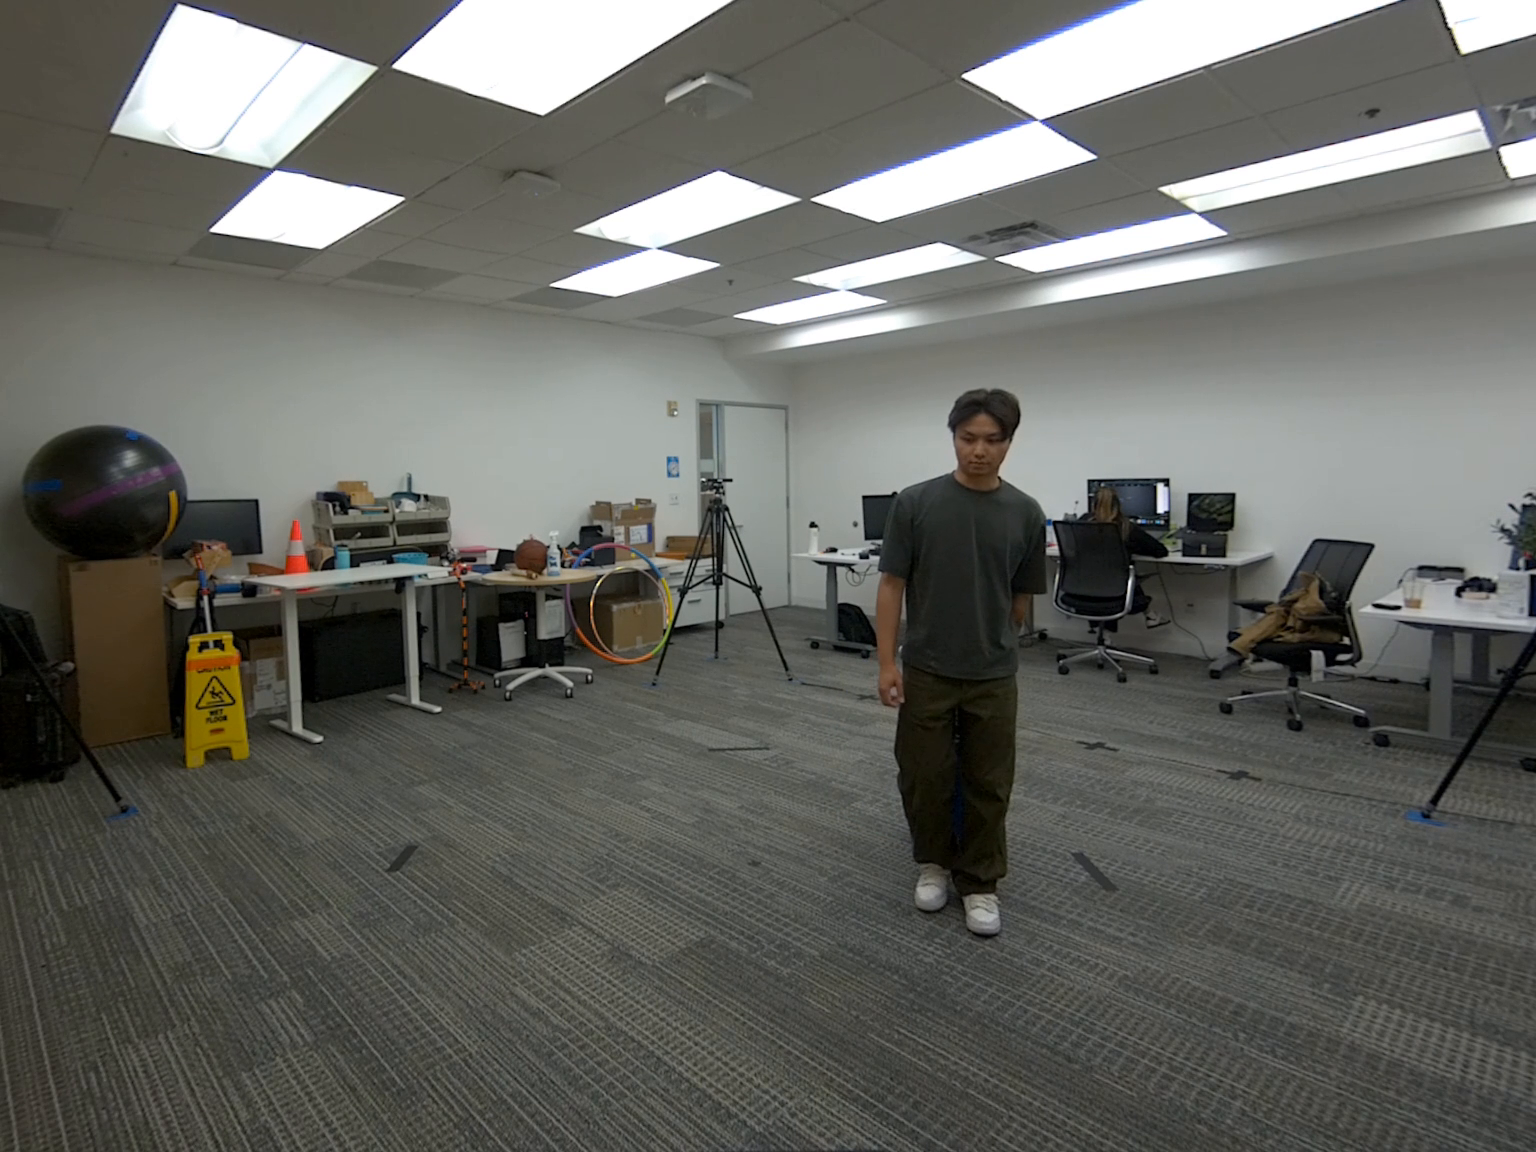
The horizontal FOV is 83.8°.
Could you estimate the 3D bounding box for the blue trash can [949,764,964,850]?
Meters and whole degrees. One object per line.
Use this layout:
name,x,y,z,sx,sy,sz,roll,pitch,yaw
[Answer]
blue trash can,0.701,0.657,3.155,0.377,0.707,0.378,-1,9,8
